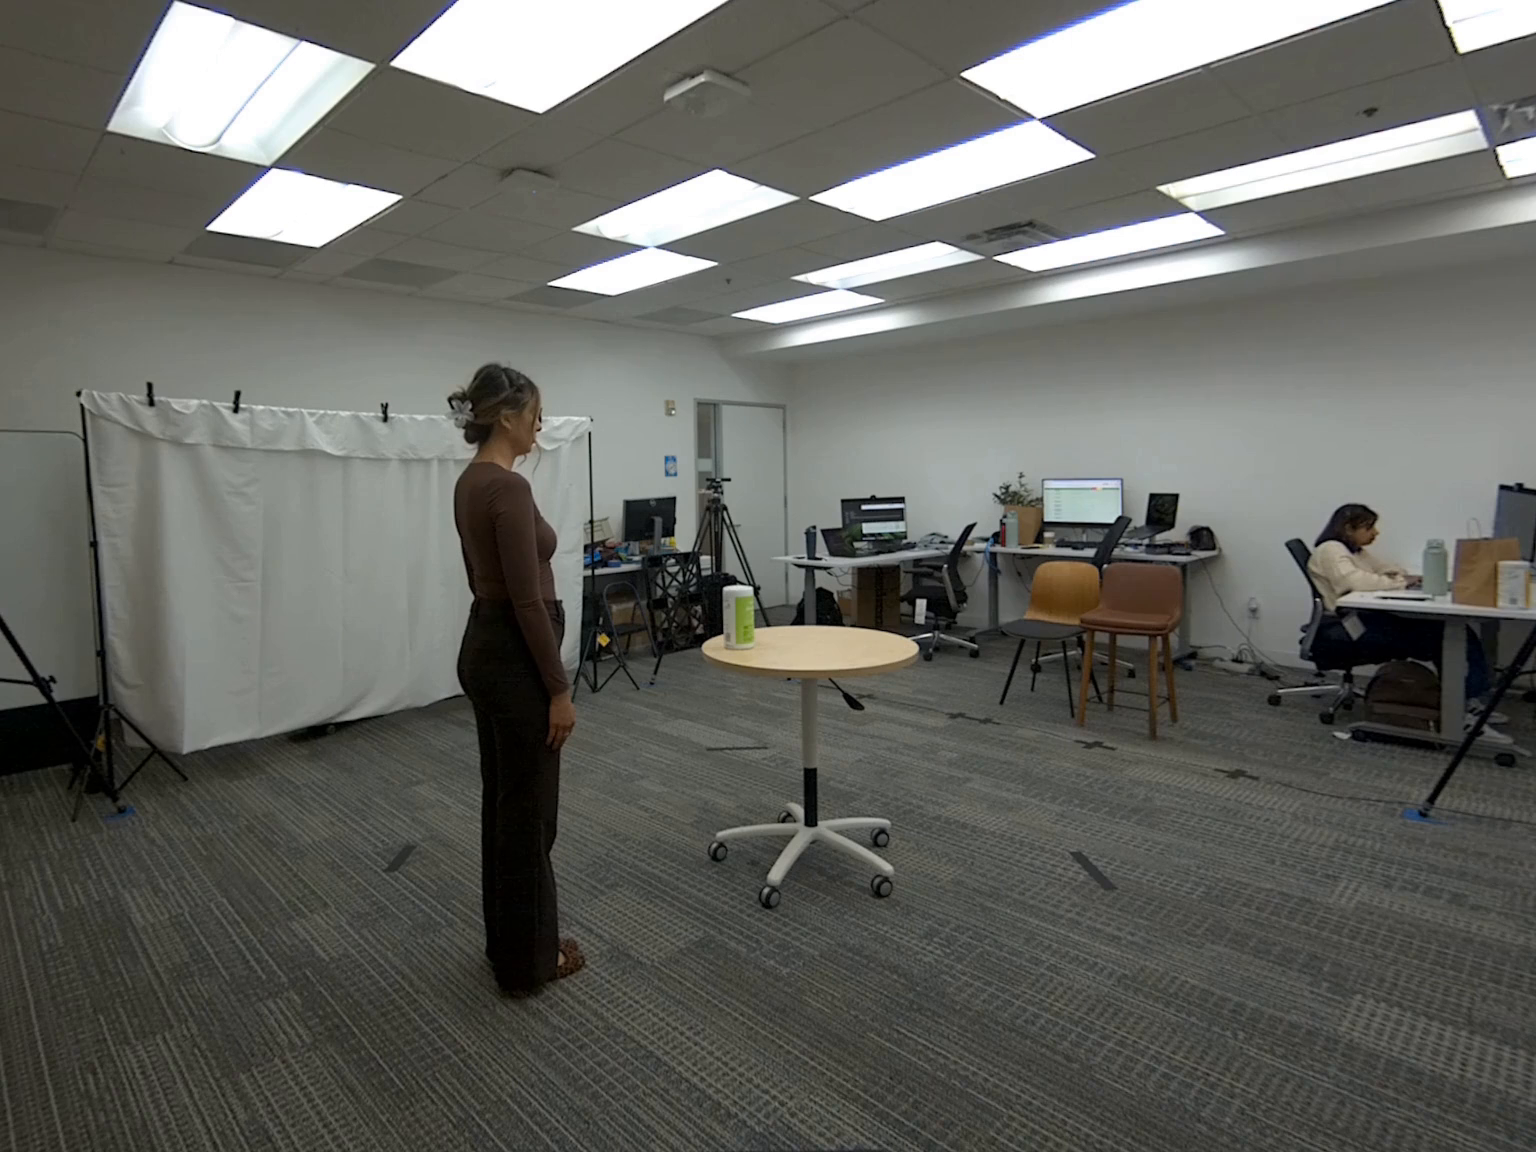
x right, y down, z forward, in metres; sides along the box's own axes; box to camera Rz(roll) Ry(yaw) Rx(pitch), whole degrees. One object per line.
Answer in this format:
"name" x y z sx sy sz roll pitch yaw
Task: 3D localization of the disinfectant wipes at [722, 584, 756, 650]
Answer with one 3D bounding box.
"disinfectant wipes" -0.106 0.147 3.040 0.118 0.217 0.118 -1 4 -2
